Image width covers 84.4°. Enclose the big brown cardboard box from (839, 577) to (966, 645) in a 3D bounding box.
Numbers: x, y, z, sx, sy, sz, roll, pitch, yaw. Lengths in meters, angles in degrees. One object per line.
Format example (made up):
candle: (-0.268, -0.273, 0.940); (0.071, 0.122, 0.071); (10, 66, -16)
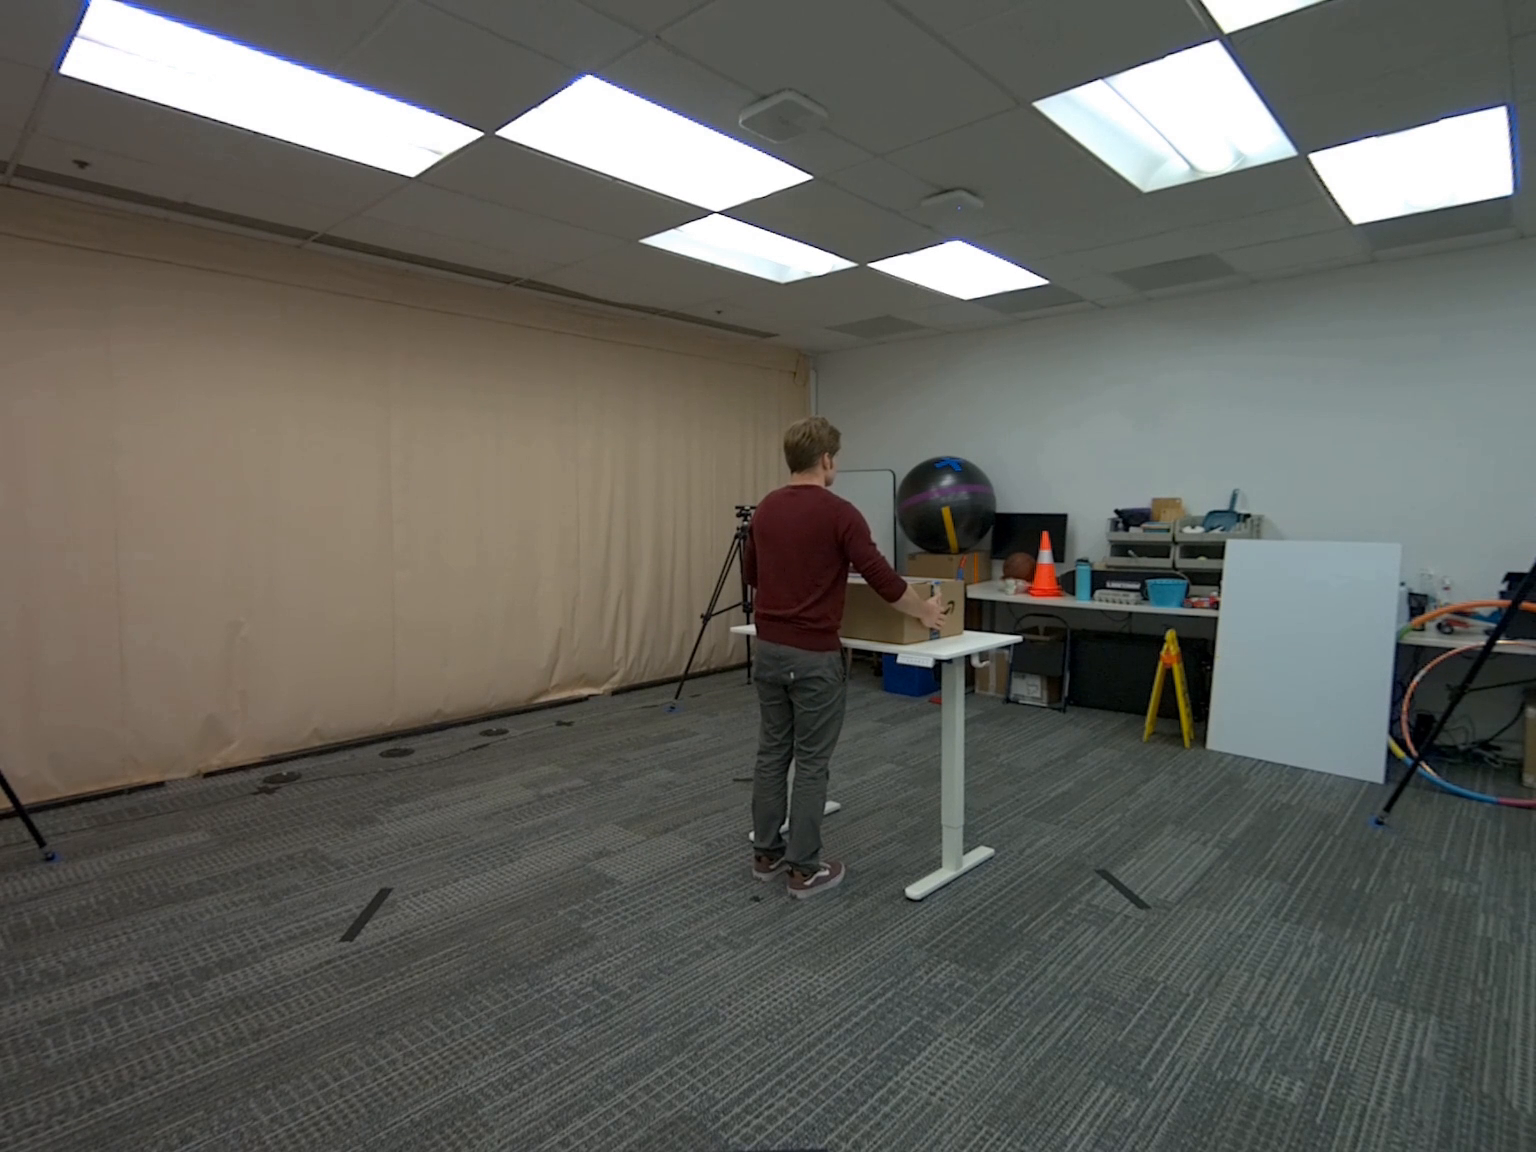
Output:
big brown cardboard box: (0.427, 0.117, 3.388); (0.609, 0.232, 0.405); (4, 6, 43)
